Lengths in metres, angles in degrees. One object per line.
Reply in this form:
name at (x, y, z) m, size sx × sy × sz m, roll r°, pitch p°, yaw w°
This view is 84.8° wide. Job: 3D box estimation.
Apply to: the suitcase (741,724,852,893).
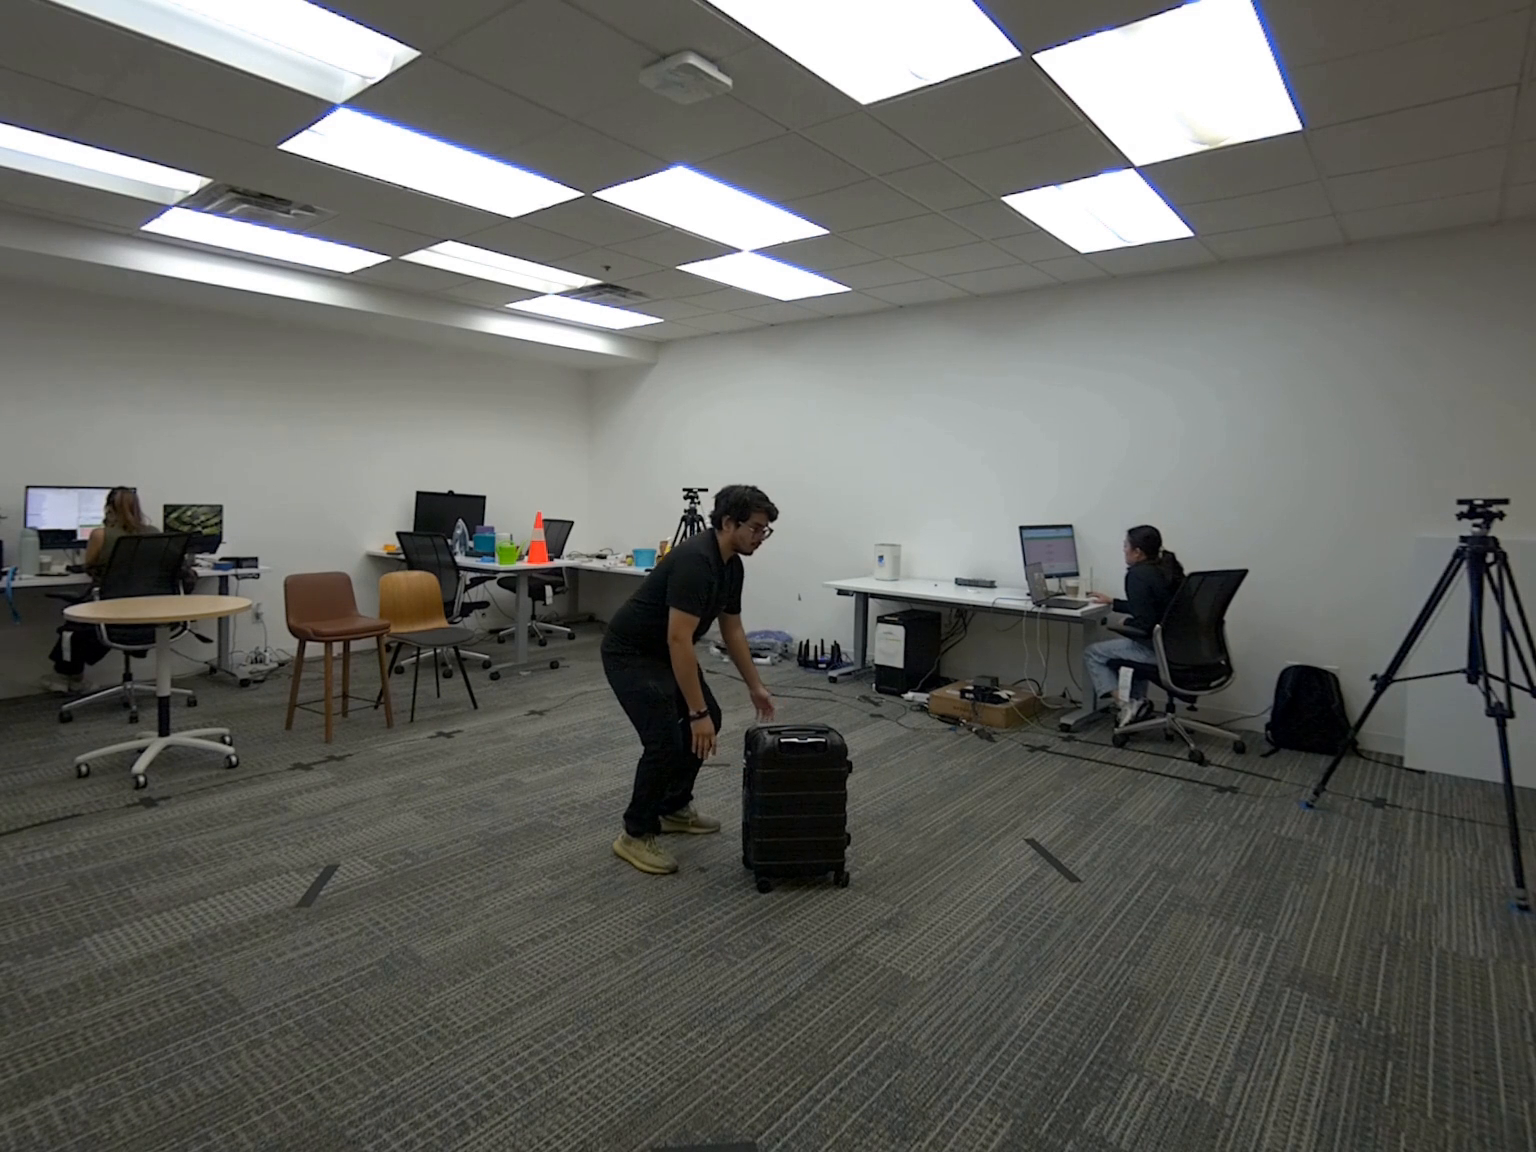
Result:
suitcase at (0.090, 0.807, 3.051) m, size 0.372 × 0.548 × 0.251 m, roll 0°, pitch 3°, yaw -9°
